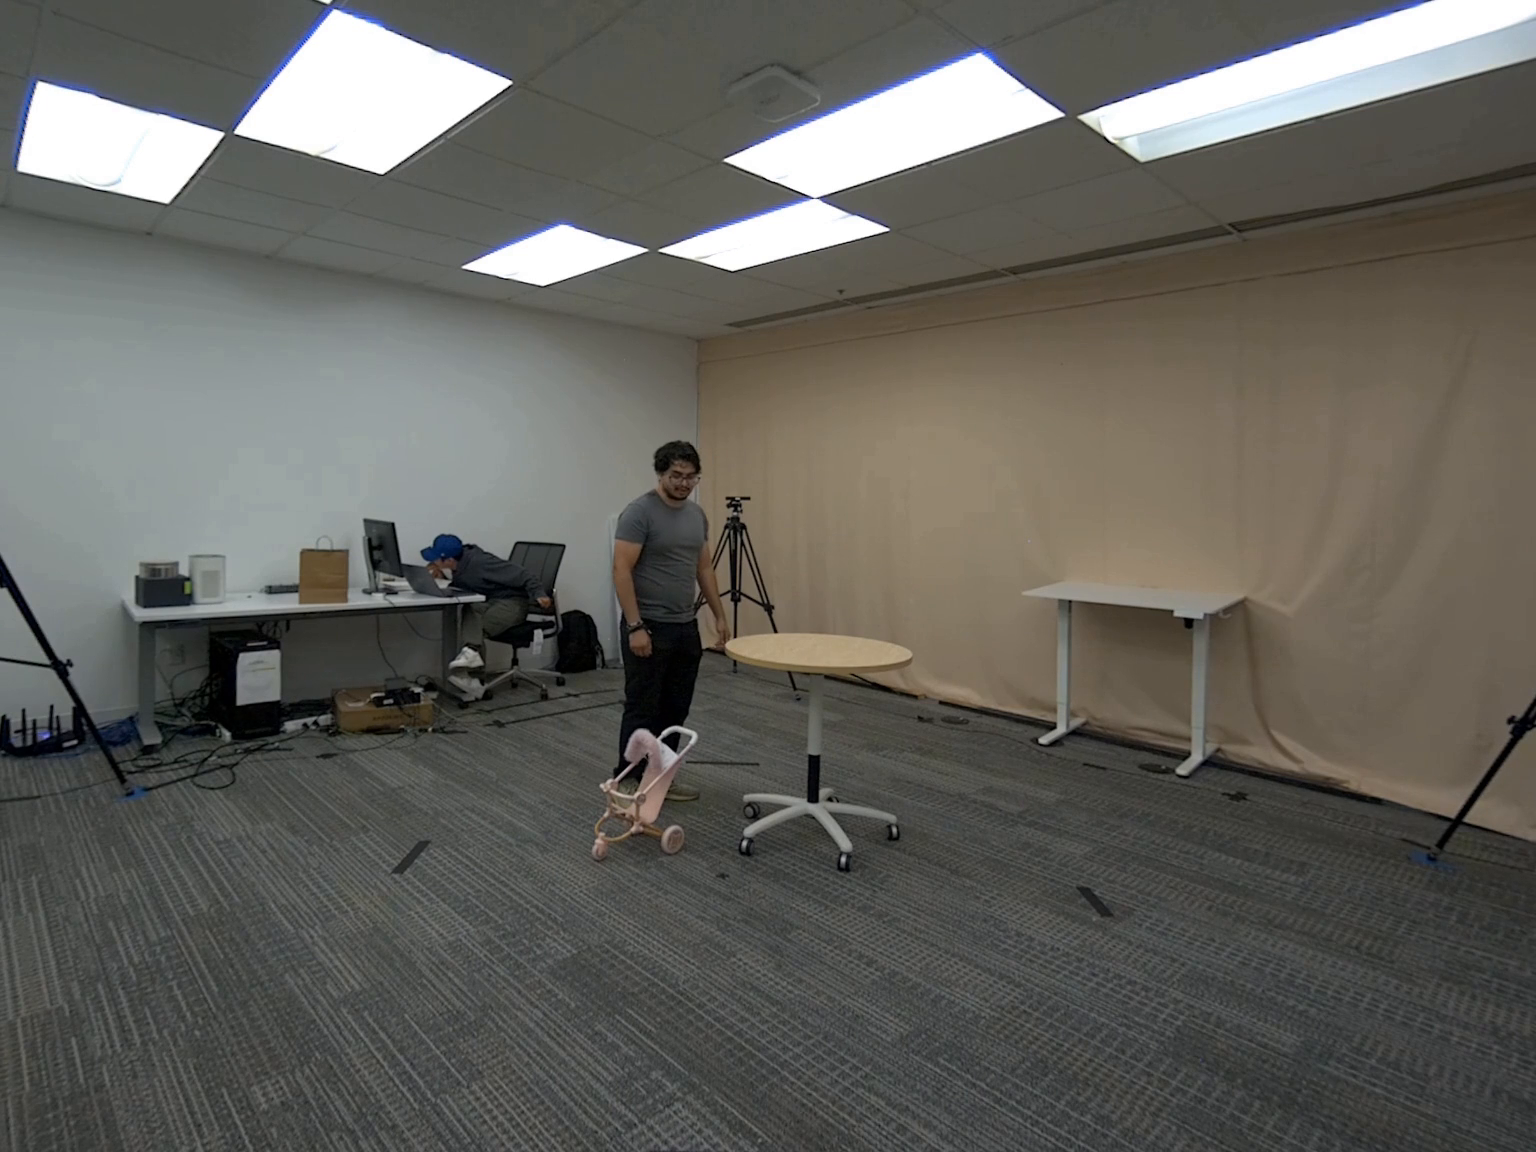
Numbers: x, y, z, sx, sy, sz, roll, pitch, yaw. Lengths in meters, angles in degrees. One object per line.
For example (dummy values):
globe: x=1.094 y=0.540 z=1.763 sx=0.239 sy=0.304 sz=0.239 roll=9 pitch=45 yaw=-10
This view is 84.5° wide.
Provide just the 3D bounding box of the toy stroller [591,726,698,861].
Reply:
toy stroller: x=-0.515 y=0.852 z=3.329 sx=0.332 sy=0.537 sz=0.288 roll=18 pitch=-8 yaw=-38
